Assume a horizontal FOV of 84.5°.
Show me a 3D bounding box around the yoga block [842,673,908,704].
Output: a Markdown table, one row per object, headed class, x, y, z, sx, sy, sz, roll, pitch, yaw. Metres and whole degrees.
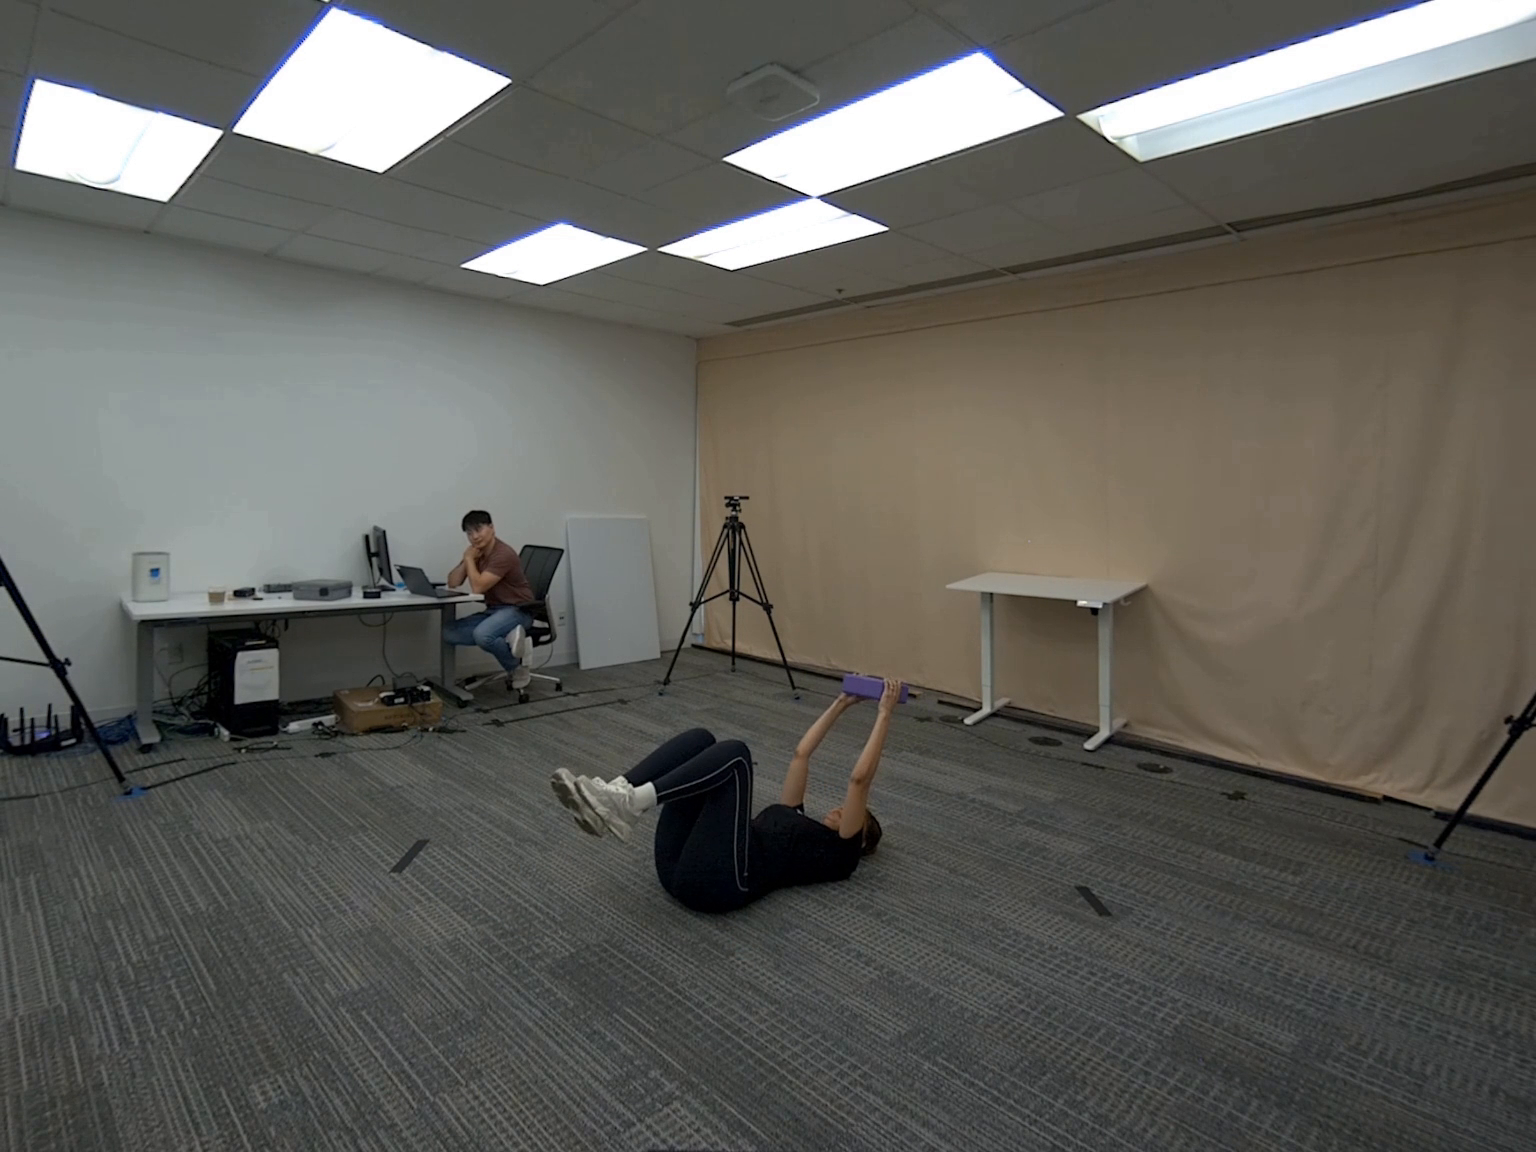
| class | x | y | z | sx | sy | sz | roll | pitch | yaw |
| --- | --- | --- | --- | --- | --- | --- | --- | --- | --- |
| yoga block | 0.417 | 0.443 | 3.313 | 0.145 | 0.077 | 0.234 | 13 | -6 | -33 |
